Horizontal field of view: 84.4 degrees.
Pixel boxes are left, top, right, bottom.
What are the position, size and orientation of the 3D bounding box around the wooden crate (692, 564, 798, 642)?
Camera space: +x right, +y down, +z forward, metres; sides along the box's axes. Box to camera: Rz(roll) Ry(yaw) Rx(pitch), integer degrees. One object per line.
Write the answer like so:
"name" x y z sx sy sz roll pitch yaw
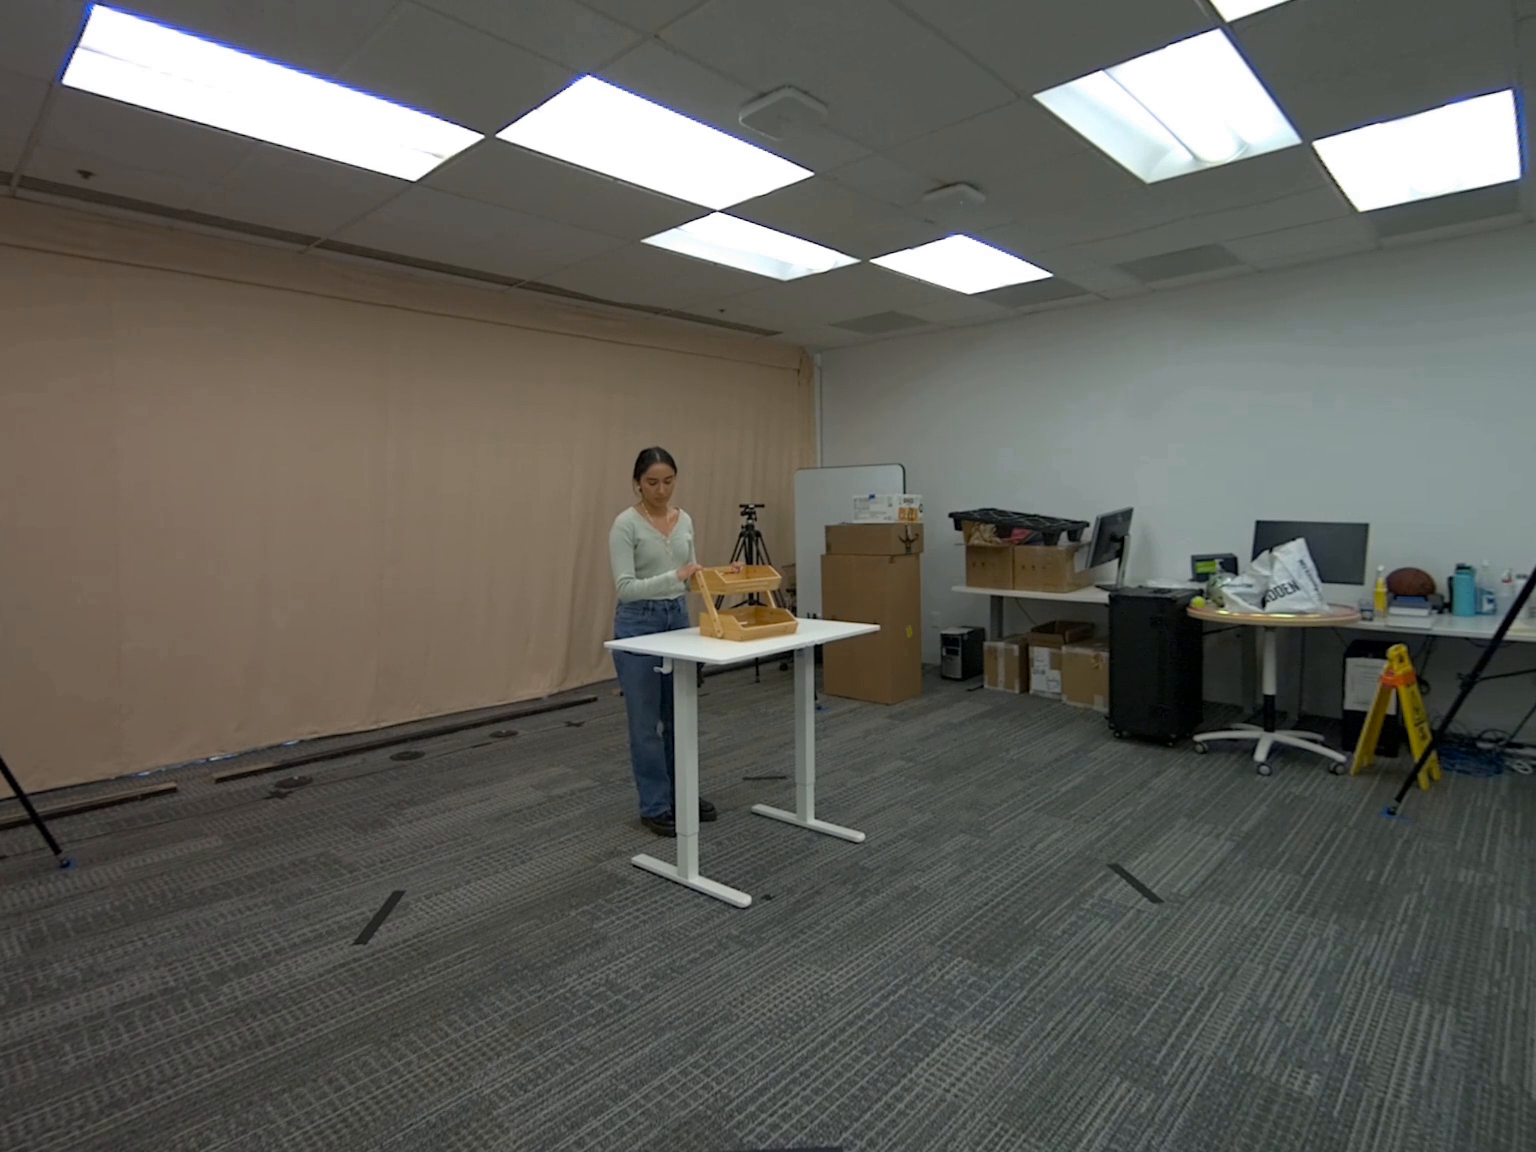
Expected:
"wooden crate" -0.089 0.098 3.327 0.314 0.273 0.312 -4 5 -42
